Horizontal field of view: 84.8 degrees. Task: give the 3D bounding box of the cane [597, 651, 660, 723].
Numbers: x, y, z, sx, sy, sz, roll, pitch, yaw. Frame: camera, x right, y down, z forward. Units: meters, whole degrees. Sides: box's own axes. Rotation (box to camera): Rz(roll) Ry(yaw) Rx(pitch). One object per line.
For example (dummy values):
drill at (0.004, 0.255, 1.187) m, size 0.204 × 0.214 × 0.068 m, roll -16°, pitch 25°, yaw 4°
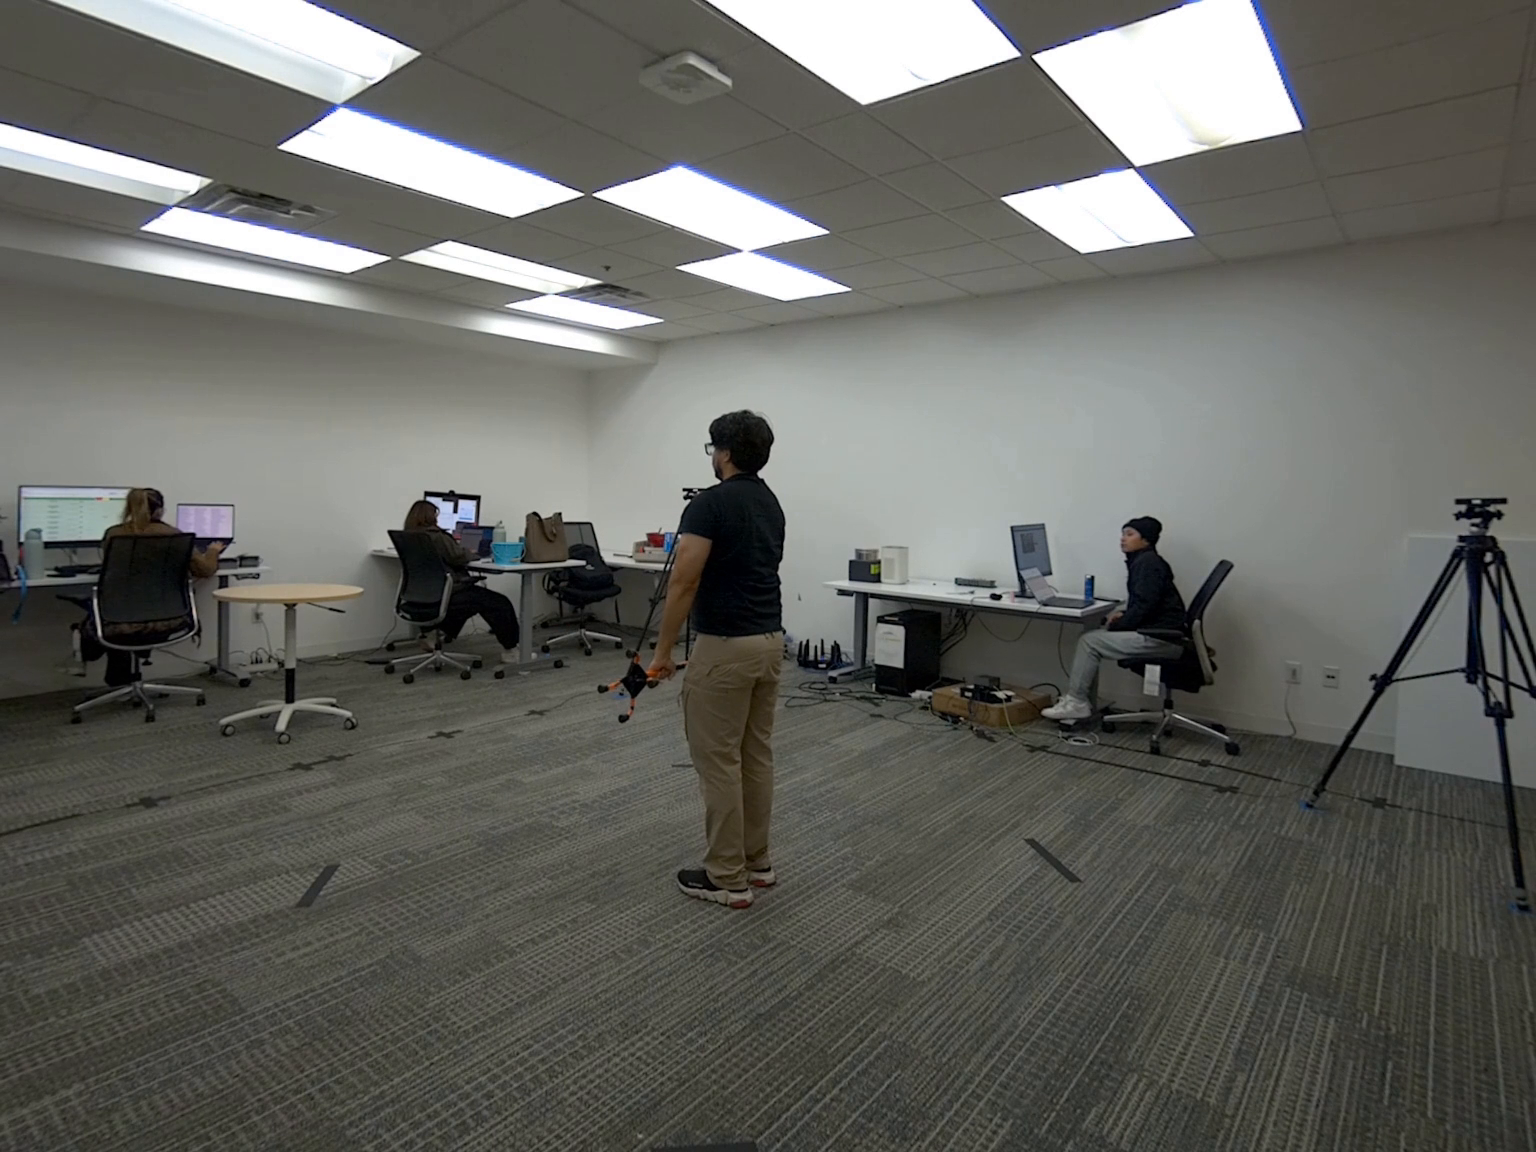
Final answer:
cane at (-0.248, 0.315, 3.097) m, size 0.156 × 0.206 × 0.883 m, roll 50°, pitch 28°, yaw 20°
